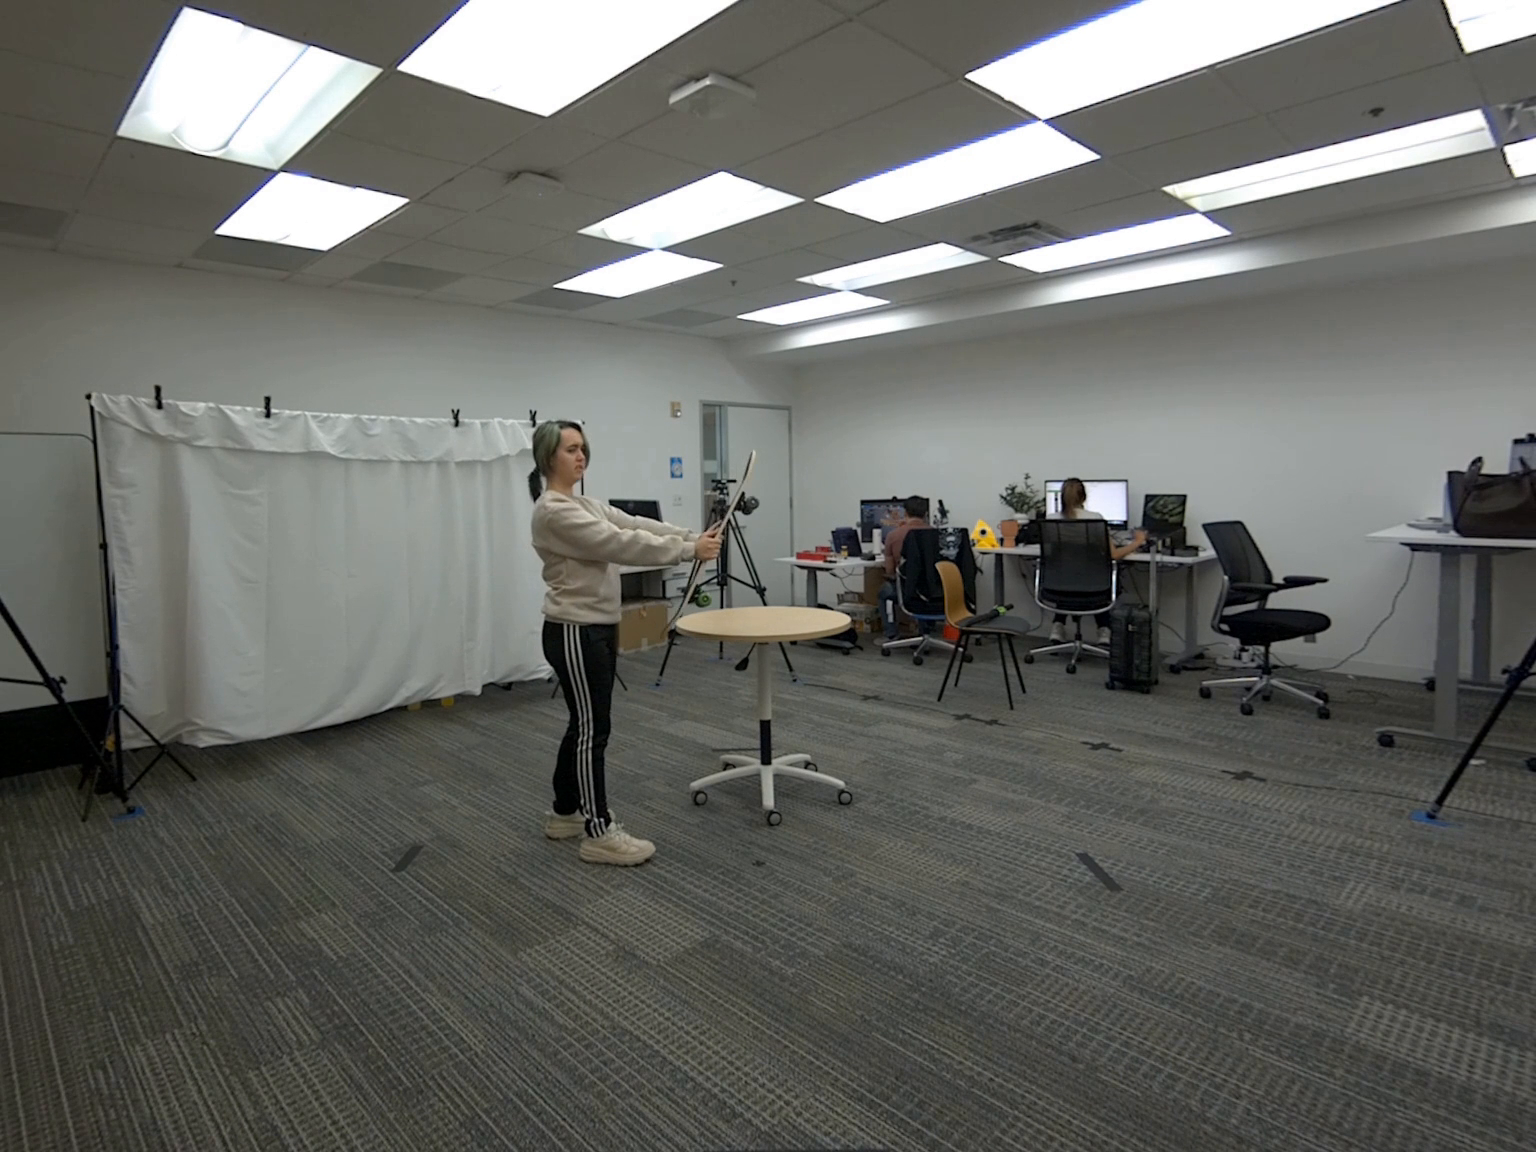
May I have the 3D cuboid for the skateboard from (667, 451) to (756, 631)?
[{"bbox_3d":[-0.179,-0.103,3.199,0.109,0.788,0.195,26,-7,-8],"label":"skateboard"}]
